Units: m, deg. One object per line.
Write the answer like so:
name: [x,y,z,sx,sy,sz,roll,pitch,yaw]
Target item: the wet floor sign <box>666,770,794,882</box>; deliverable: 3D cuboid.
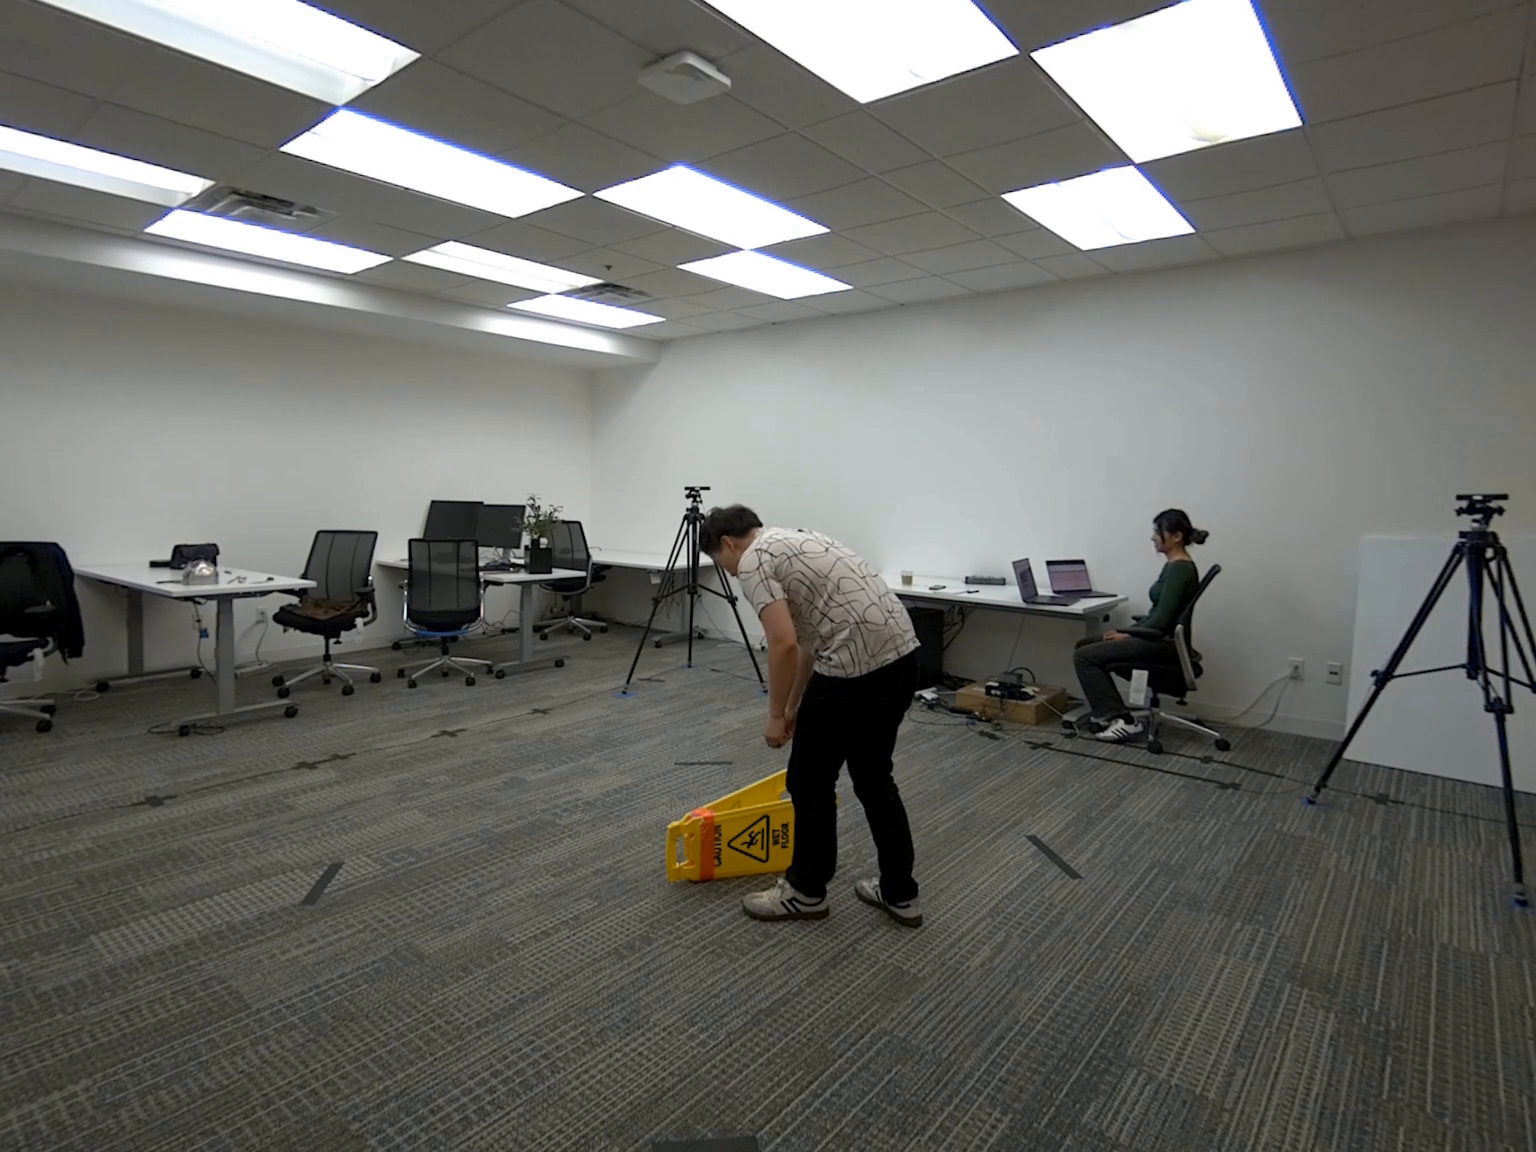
wet floor sign: [-0.097,0.936,3.109,0.628,0.281,0.299,-4,6,-34]
